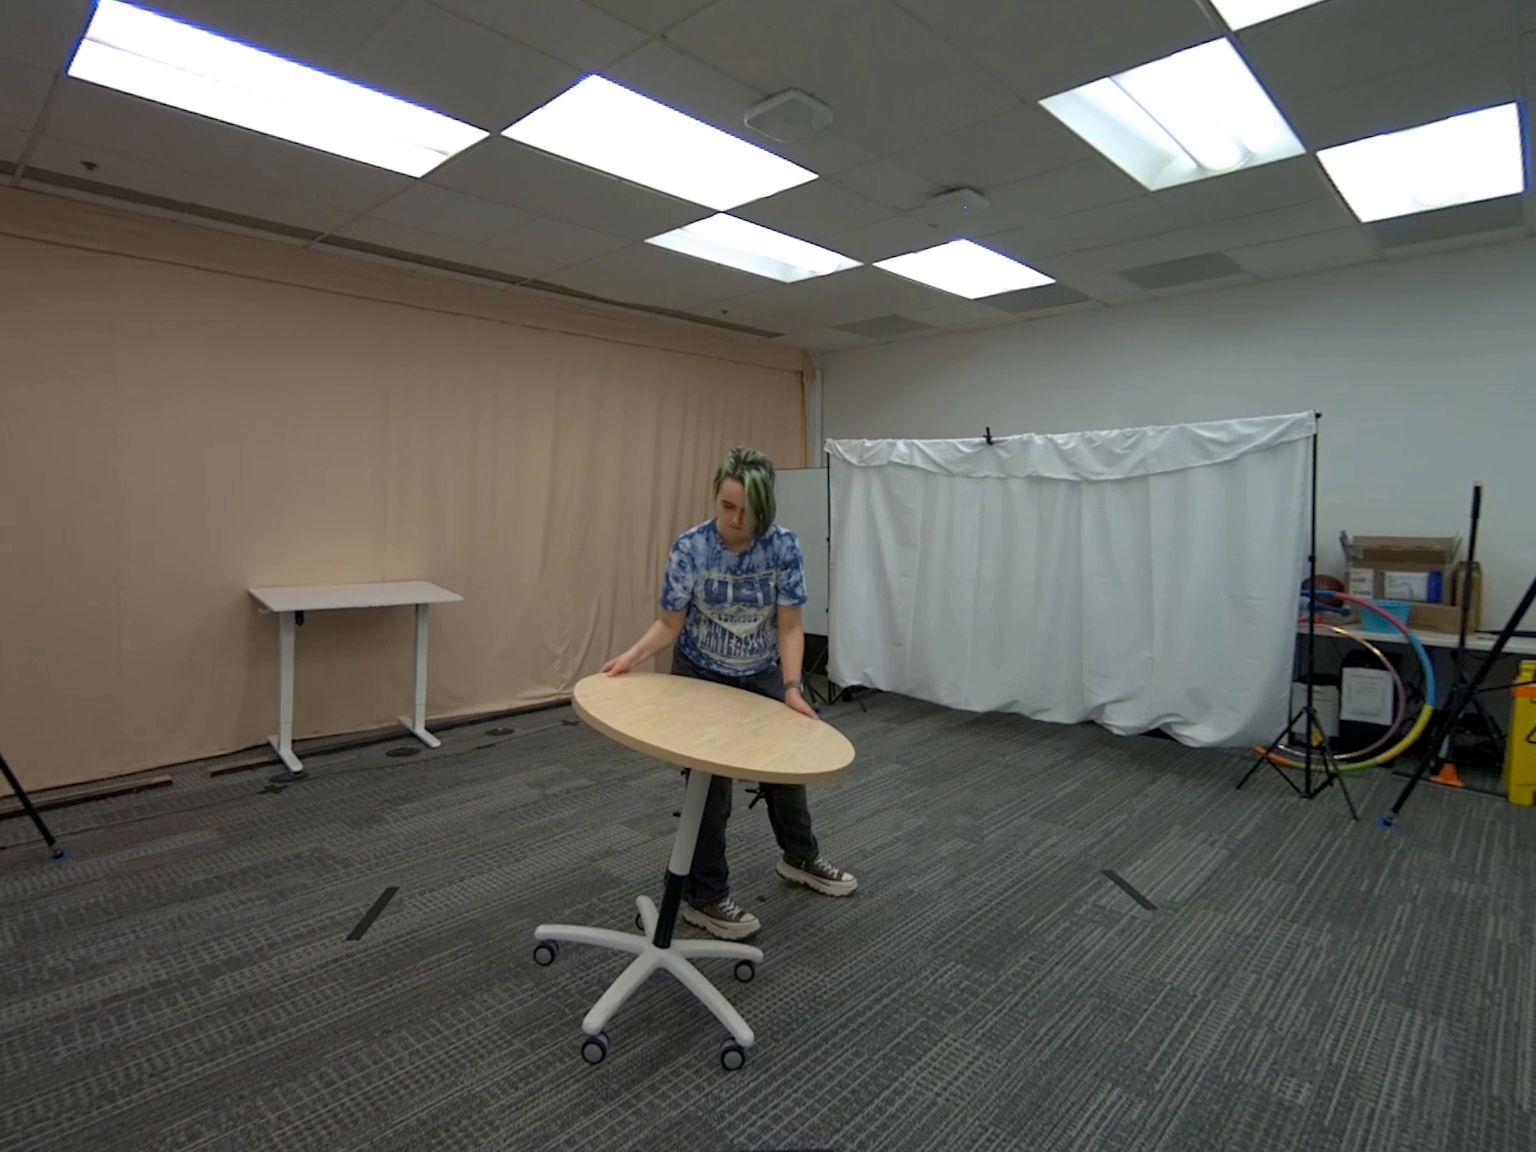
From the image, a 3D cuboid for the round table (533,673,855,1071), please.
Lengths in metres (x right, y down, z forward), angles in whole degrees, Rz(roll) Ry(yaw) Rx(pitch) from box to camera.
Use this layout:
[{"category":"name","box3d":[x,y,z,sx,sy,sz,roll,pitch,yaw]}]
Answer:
[{"category":"round table","box3d":[-0.240,0.764,2.283,0.762,0.792,0.767,12,5,-3]}]
